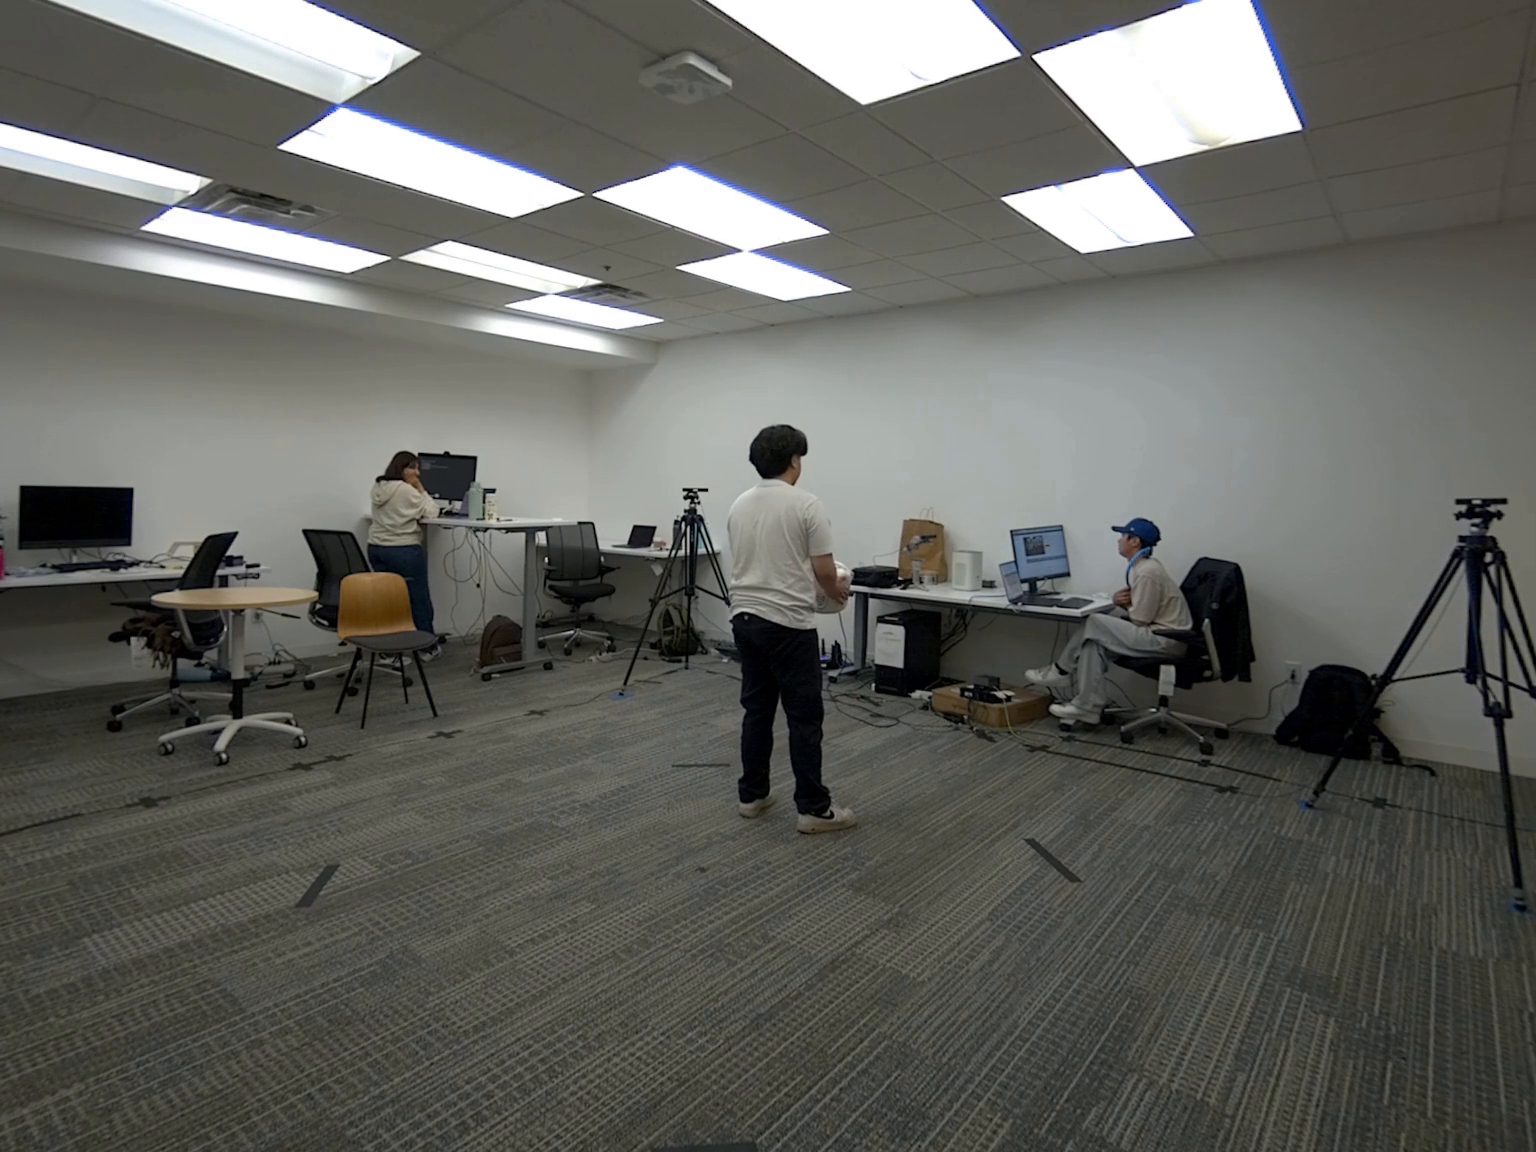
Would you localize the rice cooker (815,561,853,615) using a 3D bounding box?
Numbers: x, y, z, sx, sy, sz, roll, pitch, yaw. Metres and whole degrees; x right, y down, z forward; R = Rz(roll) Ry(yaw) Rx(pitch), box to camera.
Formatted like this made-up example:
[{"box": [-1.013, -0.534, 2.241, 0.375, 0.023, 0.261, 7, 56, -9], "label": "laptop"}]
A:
[{"box": [0.258, 0.036, 3.866, 0.225, 0.229, 0.216, 5, 17, 16], "label": "rice cooker"}]
